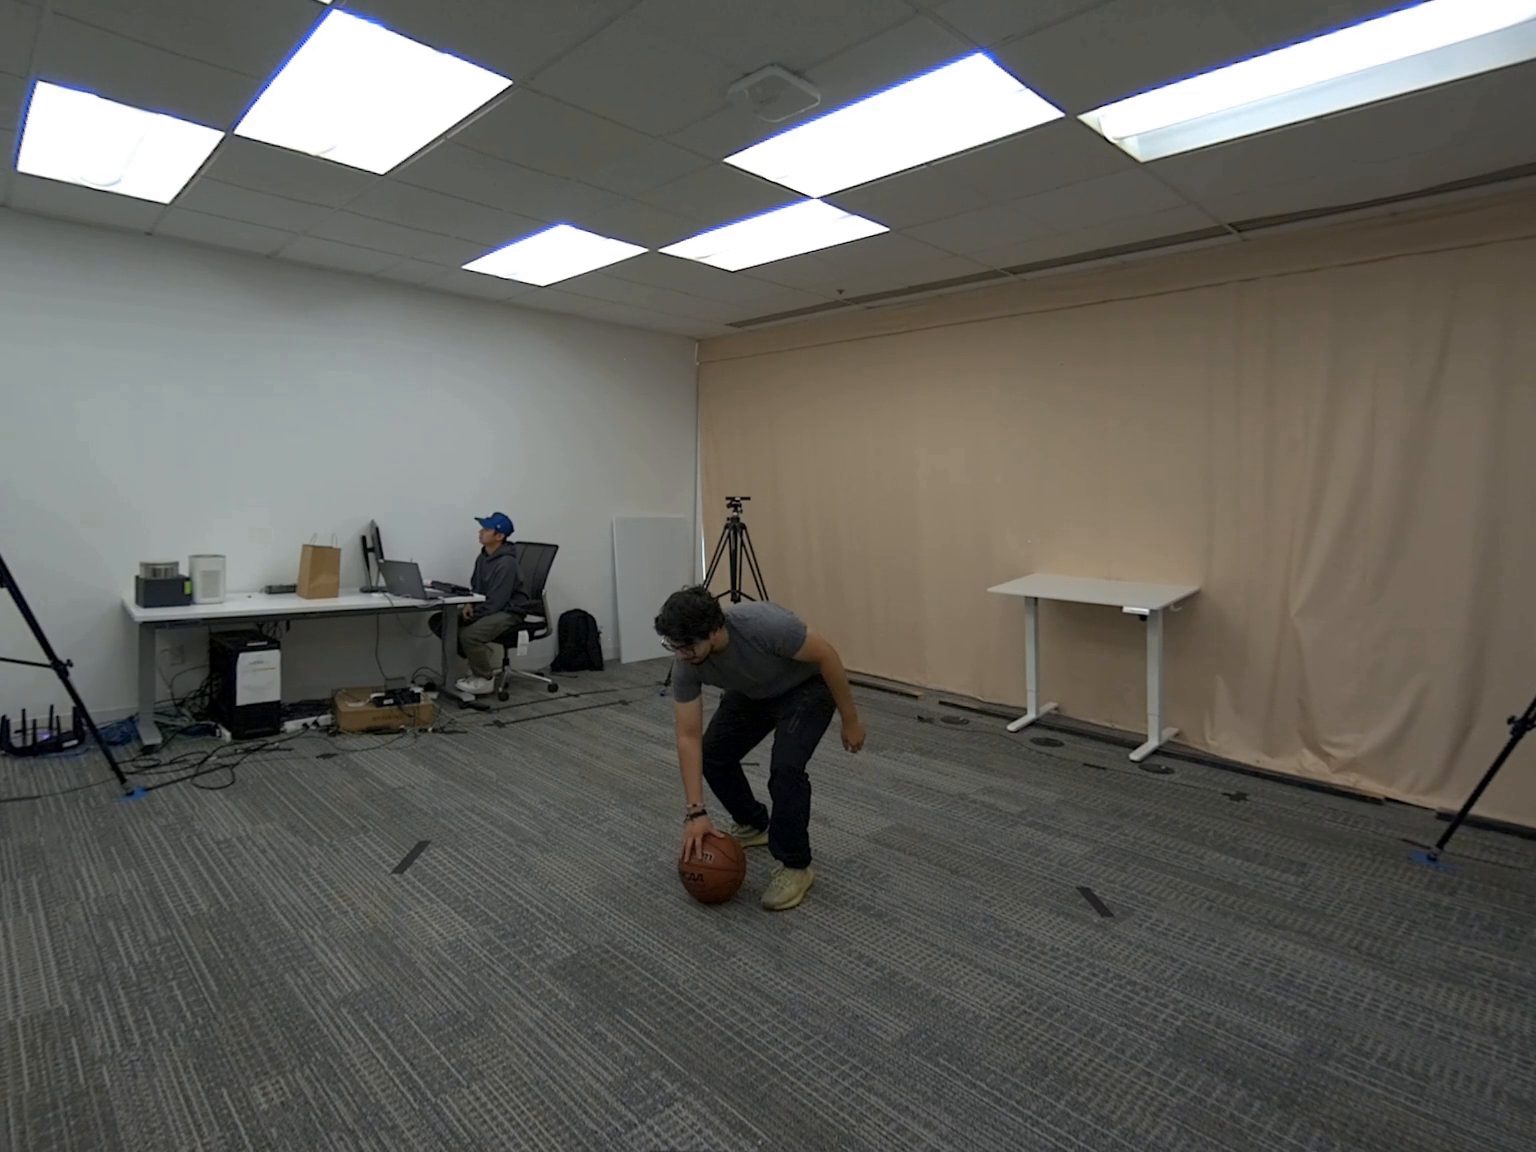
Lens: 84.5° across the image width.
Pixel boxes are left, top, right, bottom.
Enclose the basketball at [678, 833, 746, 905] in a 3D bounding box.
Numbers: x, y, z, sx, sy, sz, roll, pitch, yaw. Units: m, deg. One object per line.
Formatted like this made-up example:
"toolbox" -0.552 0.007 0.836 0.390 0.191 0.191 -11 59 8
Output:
"basketball" -0.204 1.004 2.917 0.236 0.235 0.237 1 4 -1
